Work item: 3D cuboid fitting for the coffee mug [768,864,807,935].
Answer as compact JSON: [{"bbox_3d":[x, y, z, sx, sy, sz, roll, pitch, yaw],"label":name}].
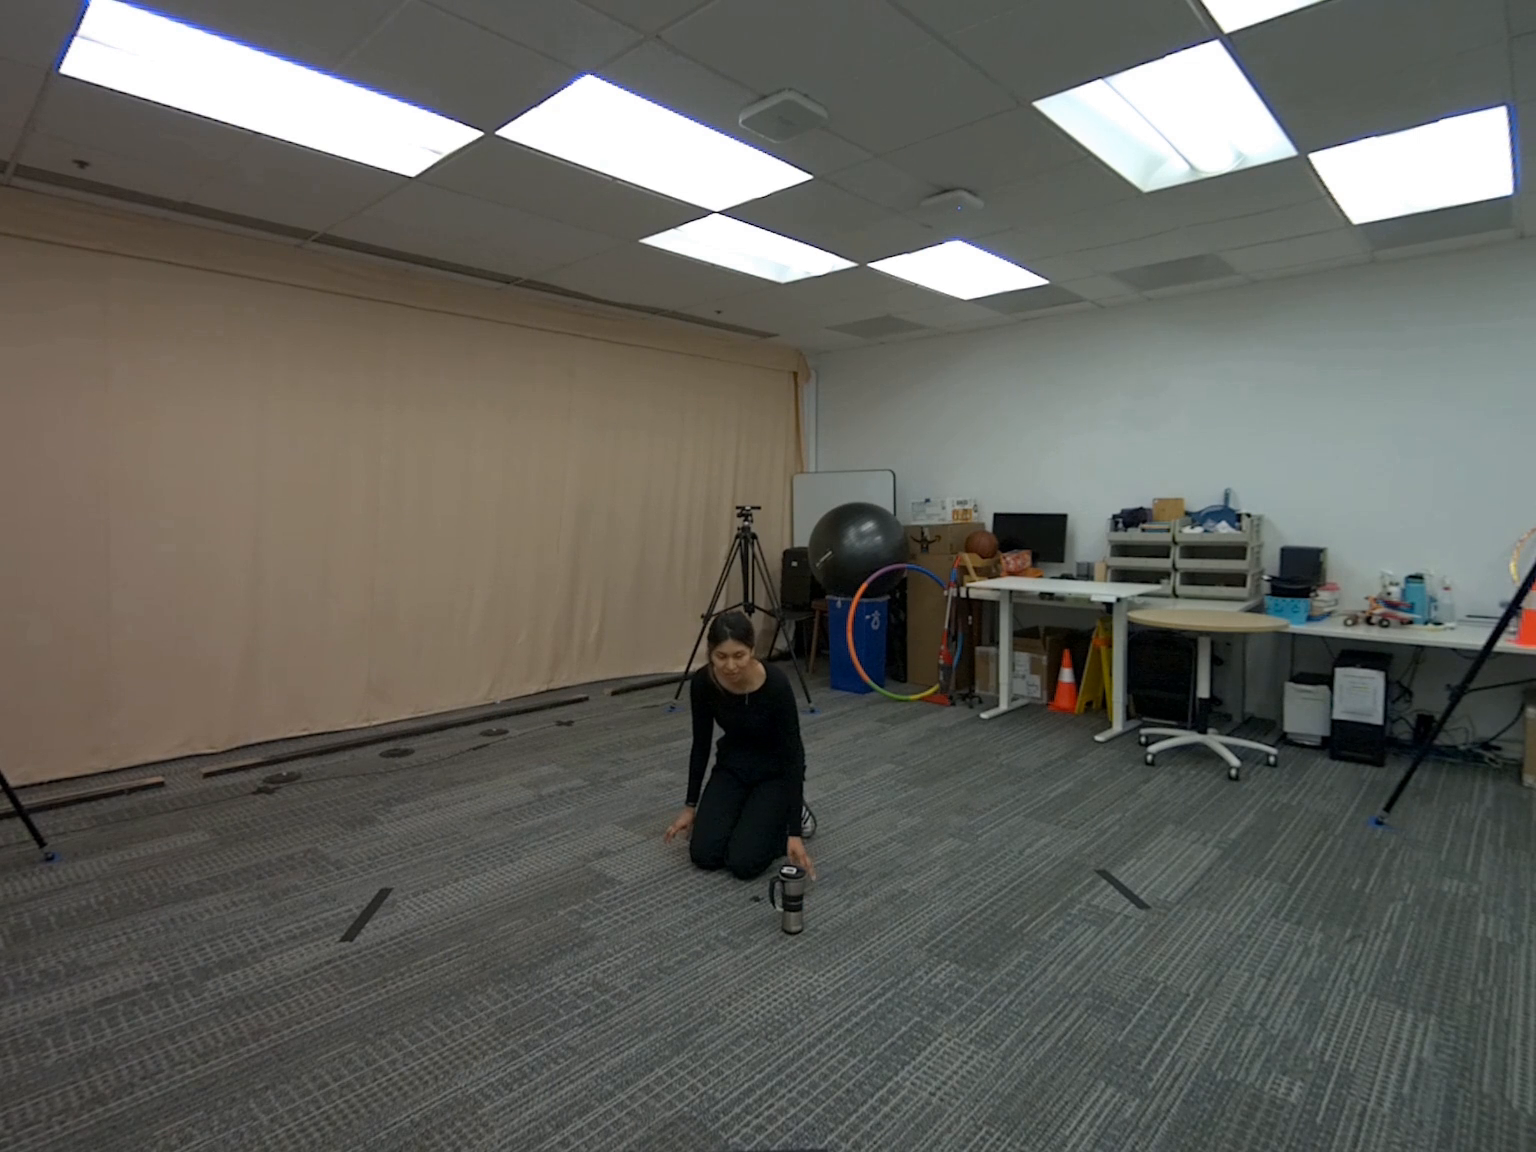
[{"bbox_3d":[0.059,1.055,2.771,0.124,0.202,0.086,5,6,18],"label":"coffee mug"}]
